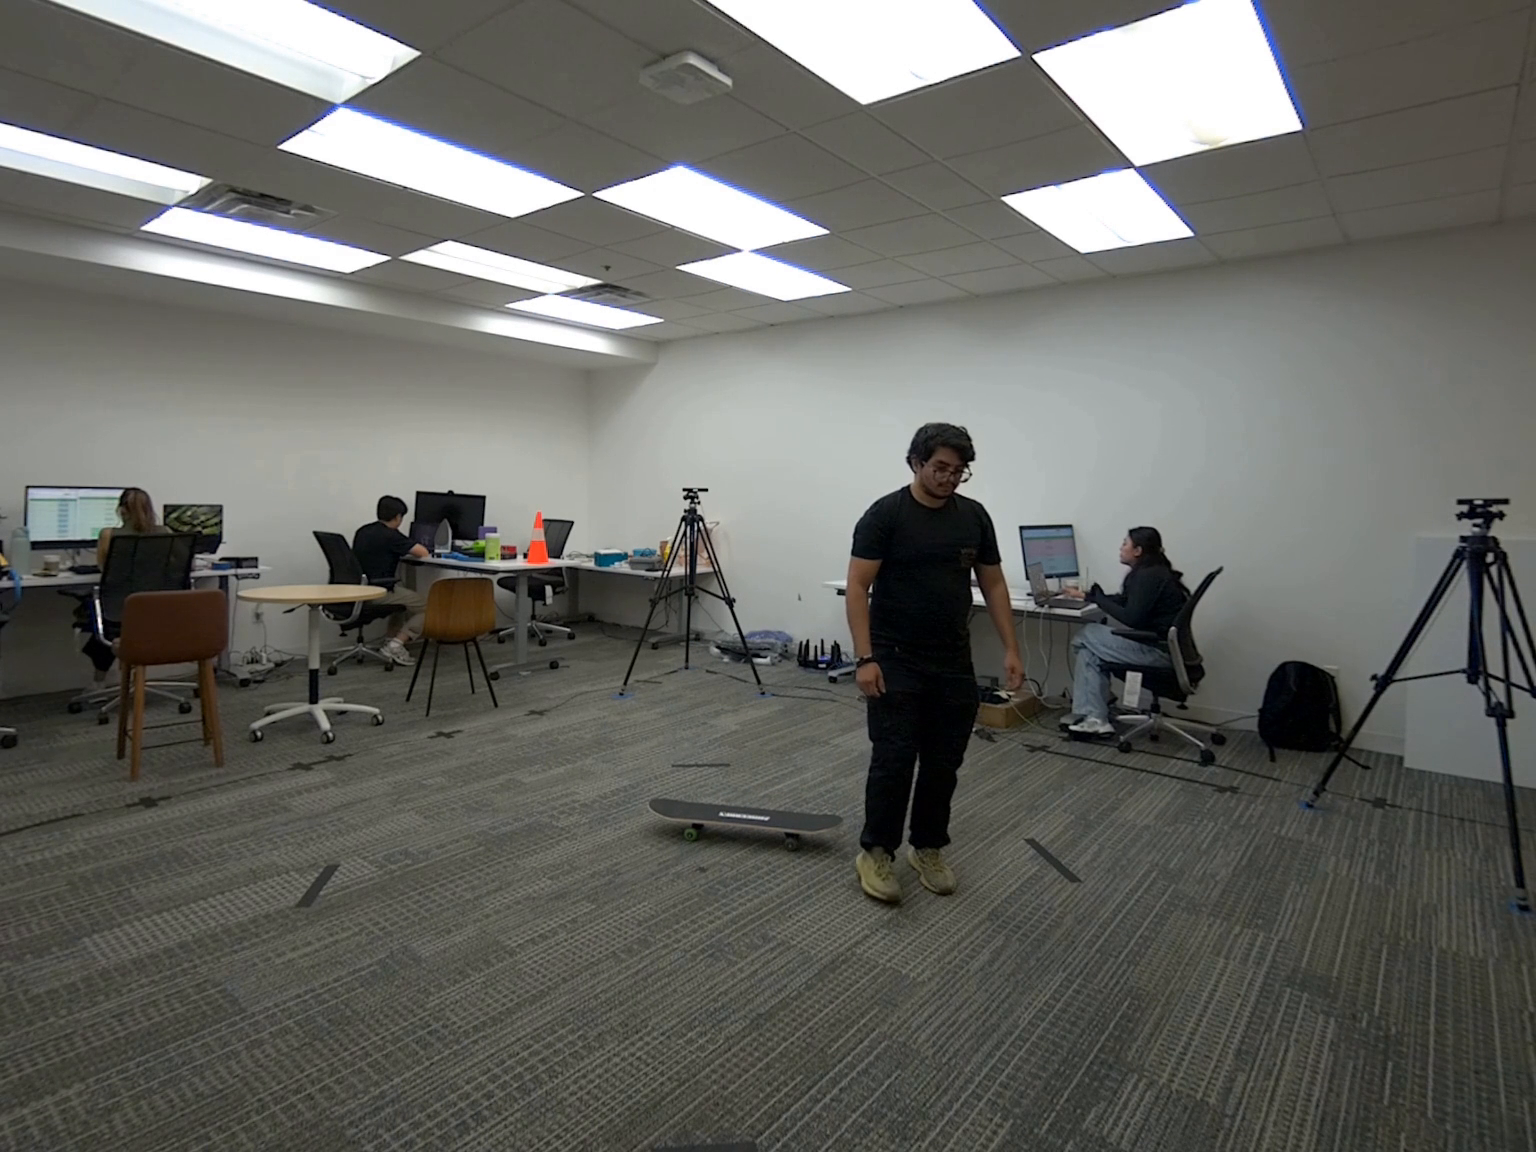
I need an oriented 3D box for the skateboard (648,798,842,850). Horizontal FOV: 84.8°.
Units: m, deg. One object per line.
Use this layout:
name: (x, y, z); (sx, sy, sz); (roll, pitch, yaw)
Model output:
skateboard: (-0.104, 0.985, 3.396); (0.794, 0.110, 0.192); (3, 5, 10)
